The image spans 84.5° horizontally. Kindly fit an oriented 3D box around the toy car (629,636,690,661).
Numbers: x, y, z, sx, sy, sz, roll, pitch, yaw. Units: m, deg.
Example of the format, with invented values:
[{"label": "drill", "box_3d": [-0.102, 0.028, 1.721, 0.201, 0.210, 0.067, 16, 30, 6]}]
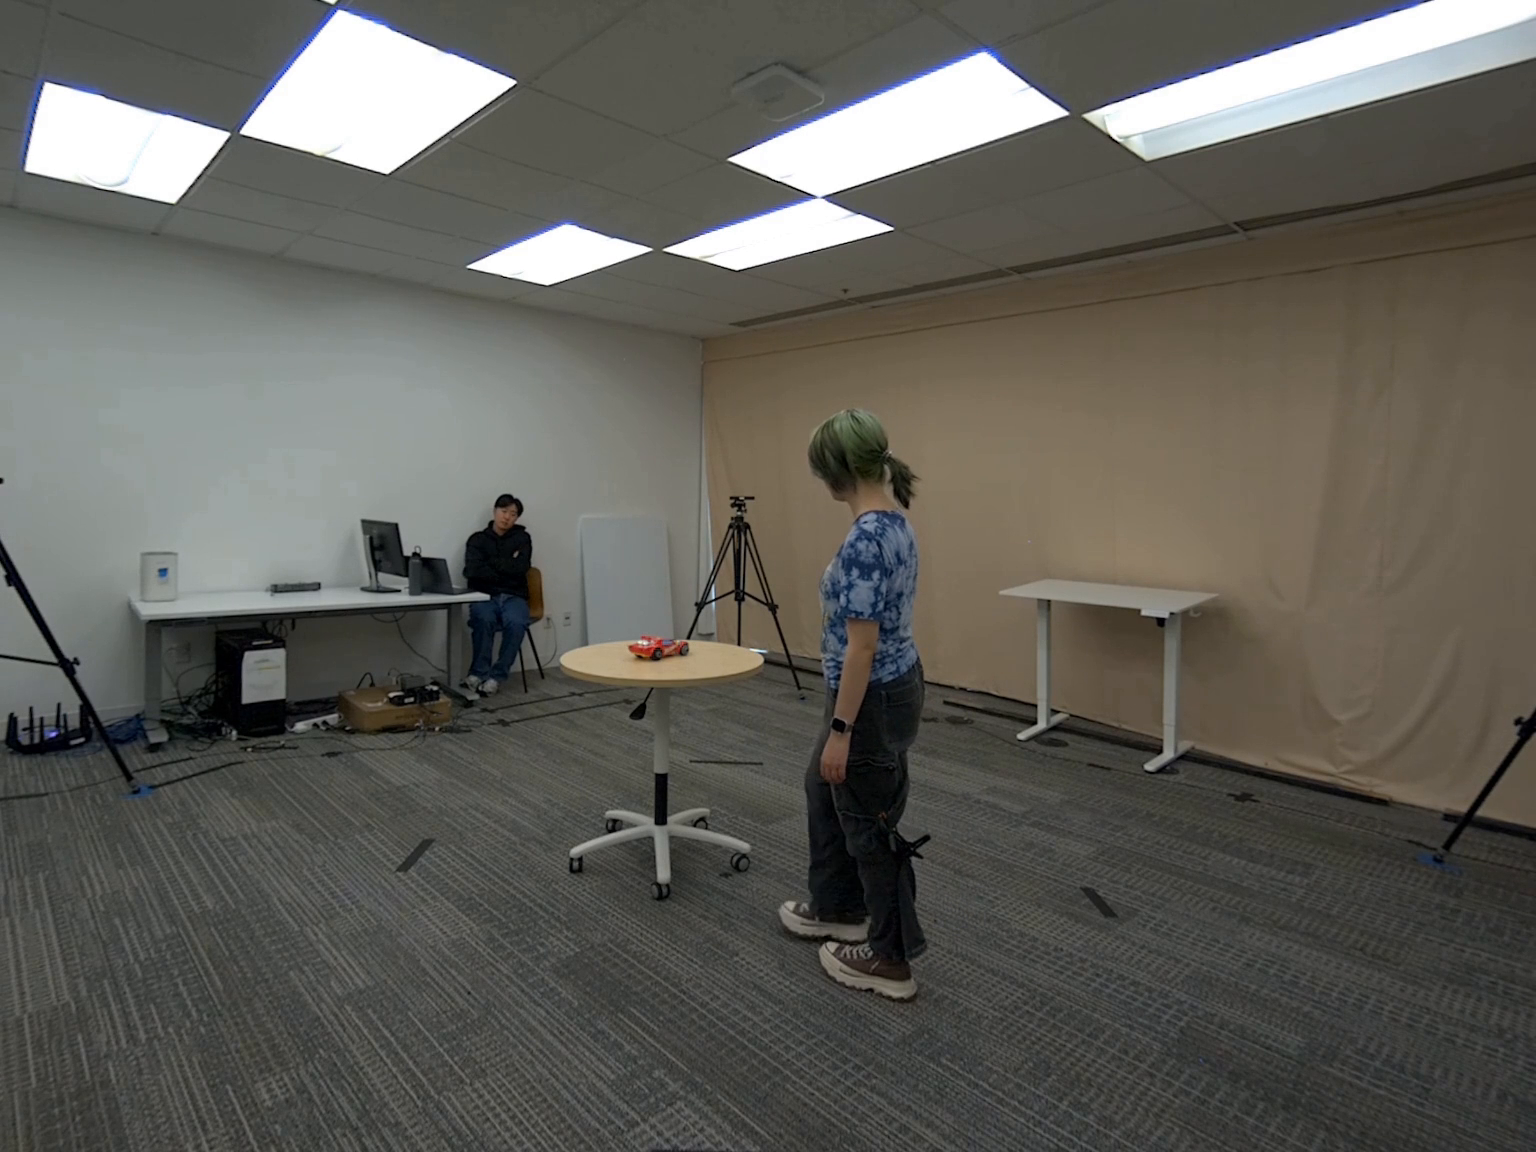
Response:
[{"label": "toy car", "box_3d": [-0.429, 0.275, 3.187, 0.133, 0.083, 0.247, 6, -4, 40]}]
